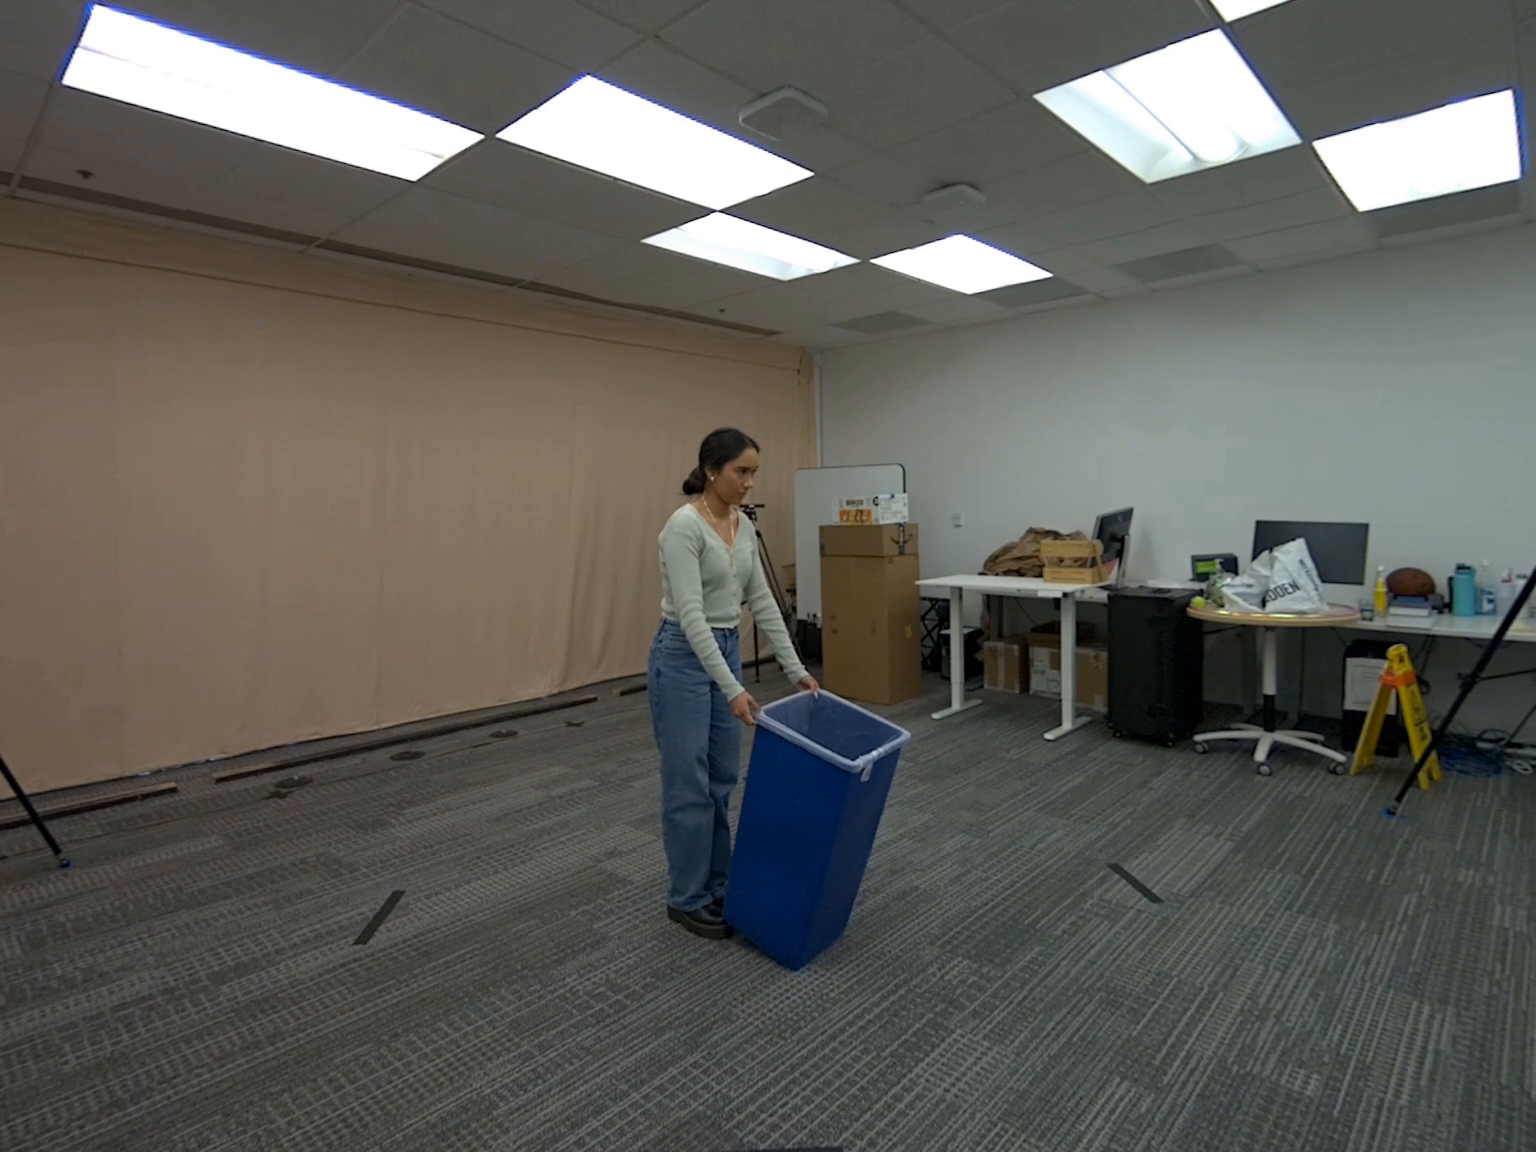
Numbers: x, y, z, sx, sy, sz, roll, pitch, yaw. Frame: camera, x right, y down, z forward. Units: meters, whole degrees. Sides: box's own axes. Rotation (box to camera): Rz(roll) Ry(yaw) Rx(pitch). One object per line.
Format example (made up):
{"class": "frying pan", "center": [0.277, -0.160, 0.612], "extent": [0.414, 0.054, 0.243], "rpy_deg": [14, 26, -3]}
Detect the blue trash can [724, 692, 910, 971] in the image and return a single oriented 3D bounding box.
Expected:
{"class": "blue trash can", "center": [0.121, 0.775, 2.612], "extent": [0.387, 0.709, 0.367], "rpy_deg": [22, 17, 32]}
